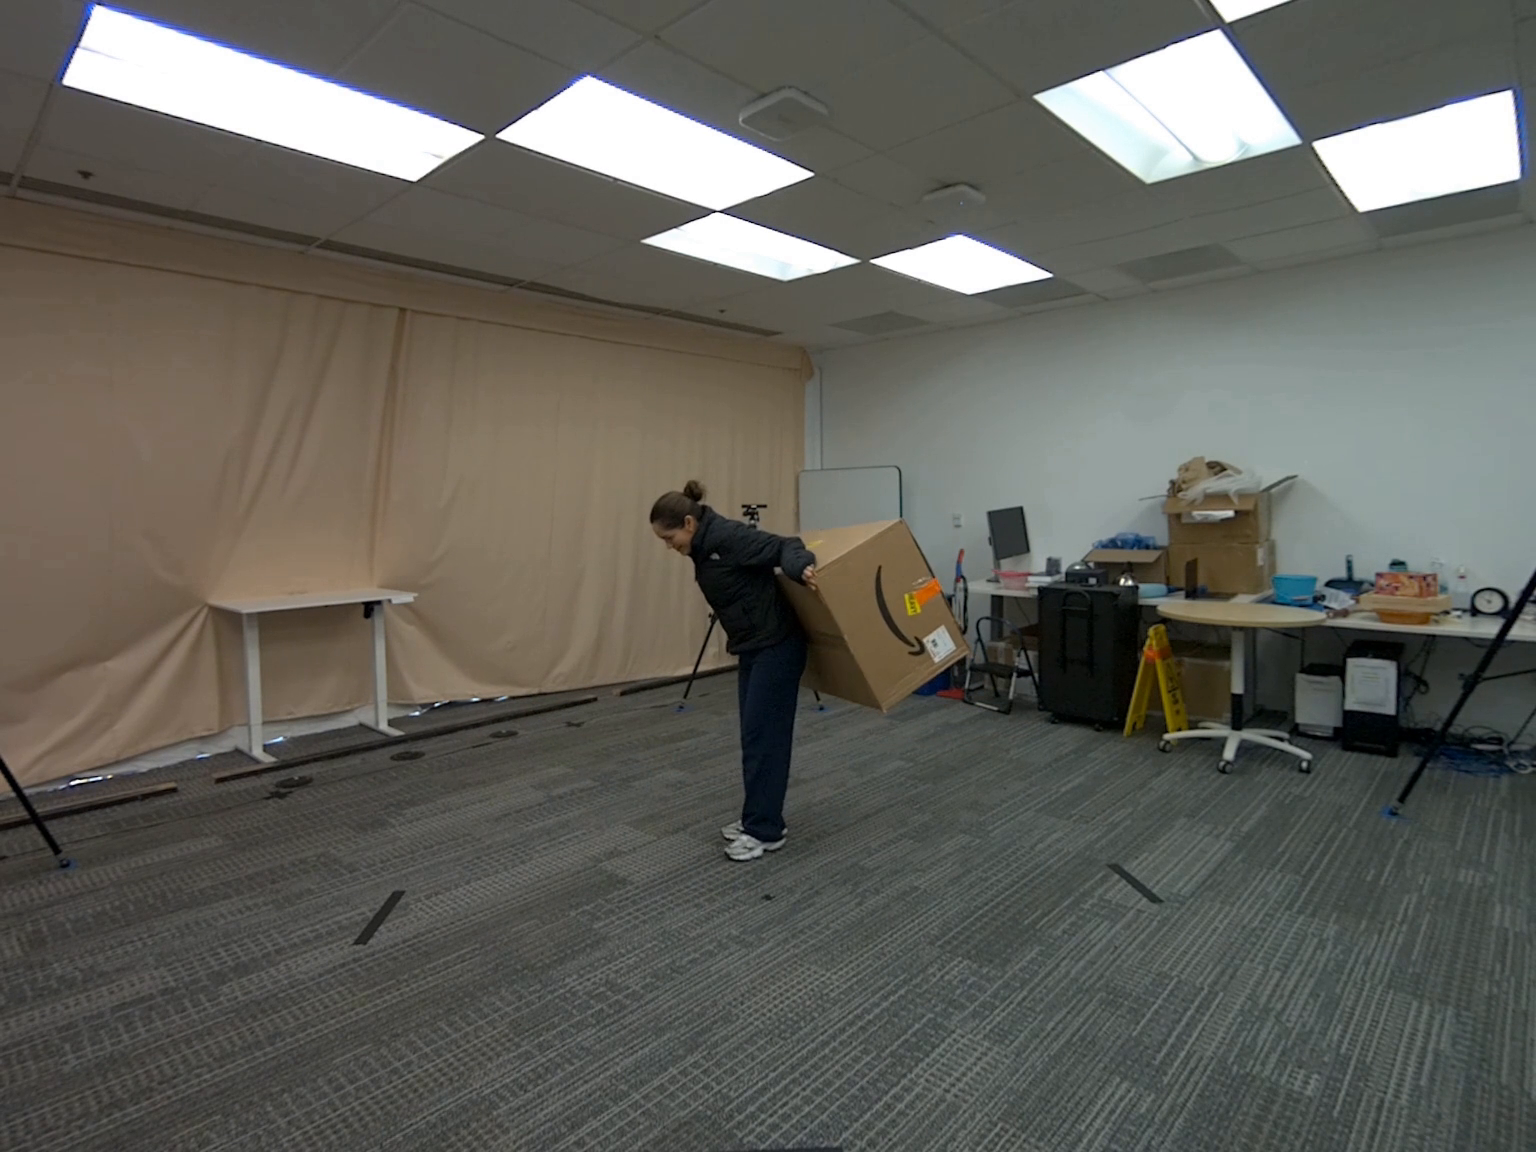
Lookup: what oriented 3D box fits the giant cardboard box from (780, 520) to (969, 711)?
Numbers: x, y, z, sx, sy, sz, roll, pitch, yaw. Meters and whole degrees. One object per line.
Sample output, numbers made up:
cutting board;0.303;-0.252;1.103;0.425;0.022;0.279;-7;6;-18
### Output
giant cardboard box;0.288;0.148;3.536;0.421;0.573;1.045;-30;9;-18
